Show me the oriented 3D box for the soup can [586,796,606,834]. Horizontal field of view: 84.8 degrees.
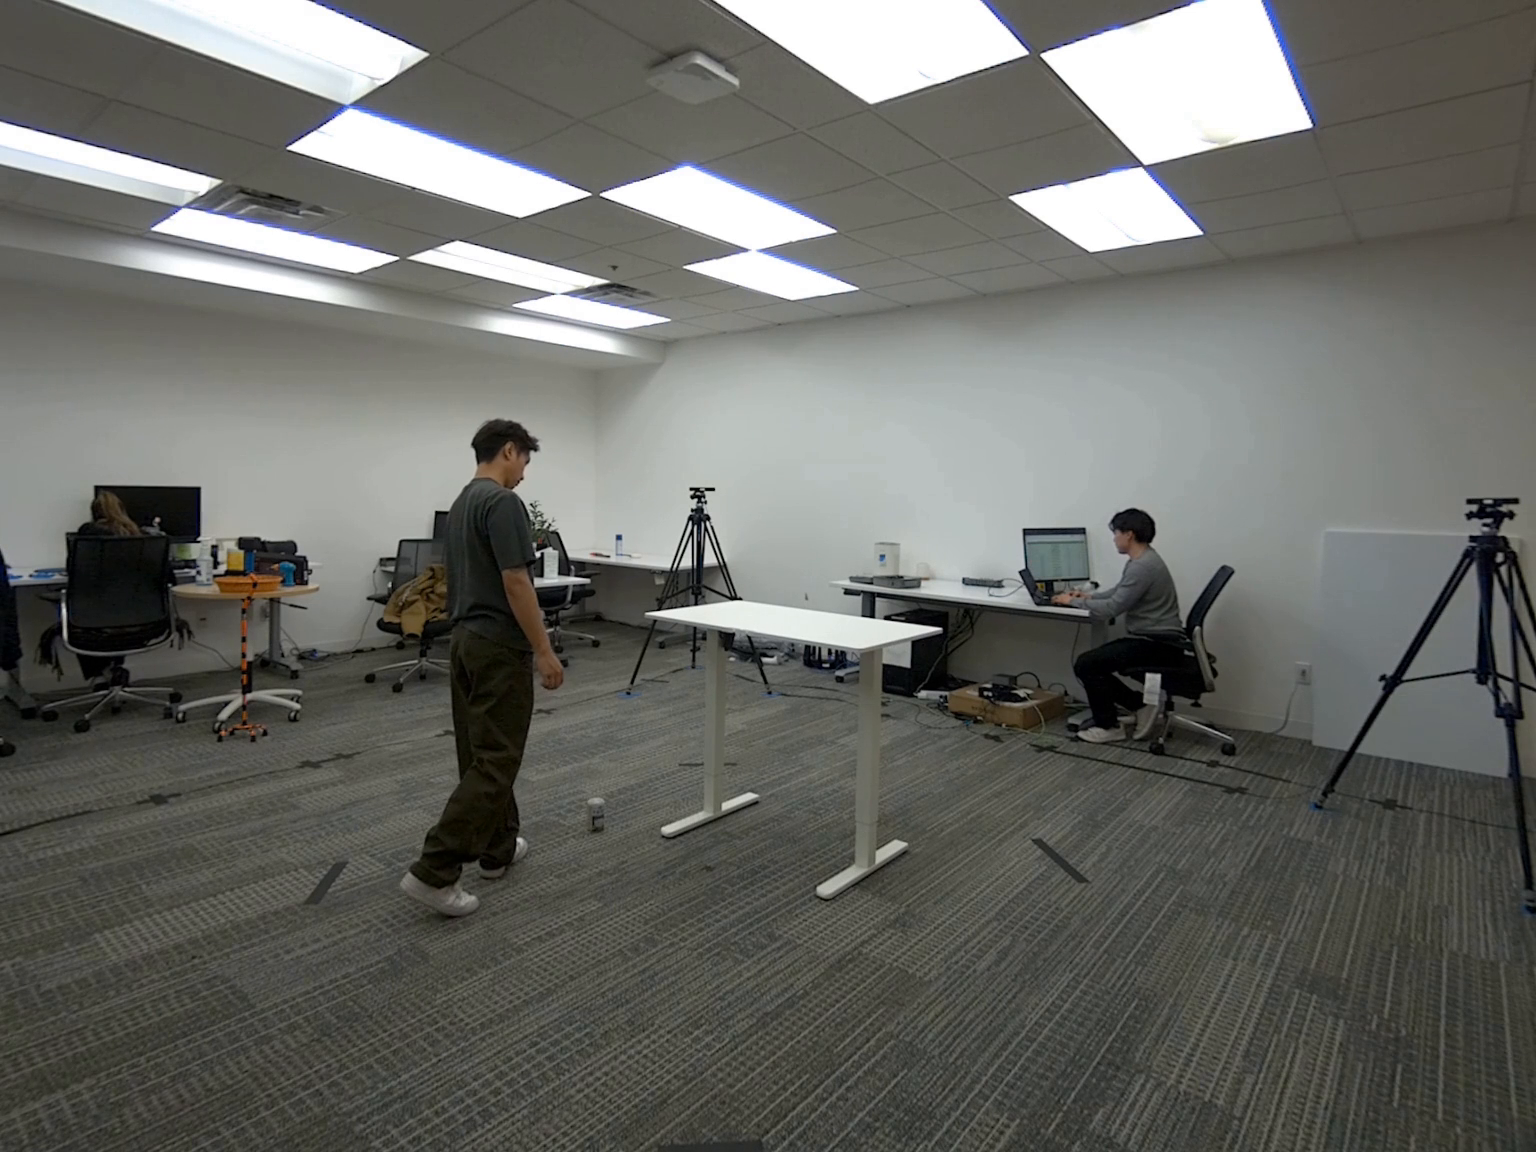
[{"bbox_3d":[-0.712,0.967,3.450,0.067,0.121,0.067,1,1,-2],"label":"soup can"}]
